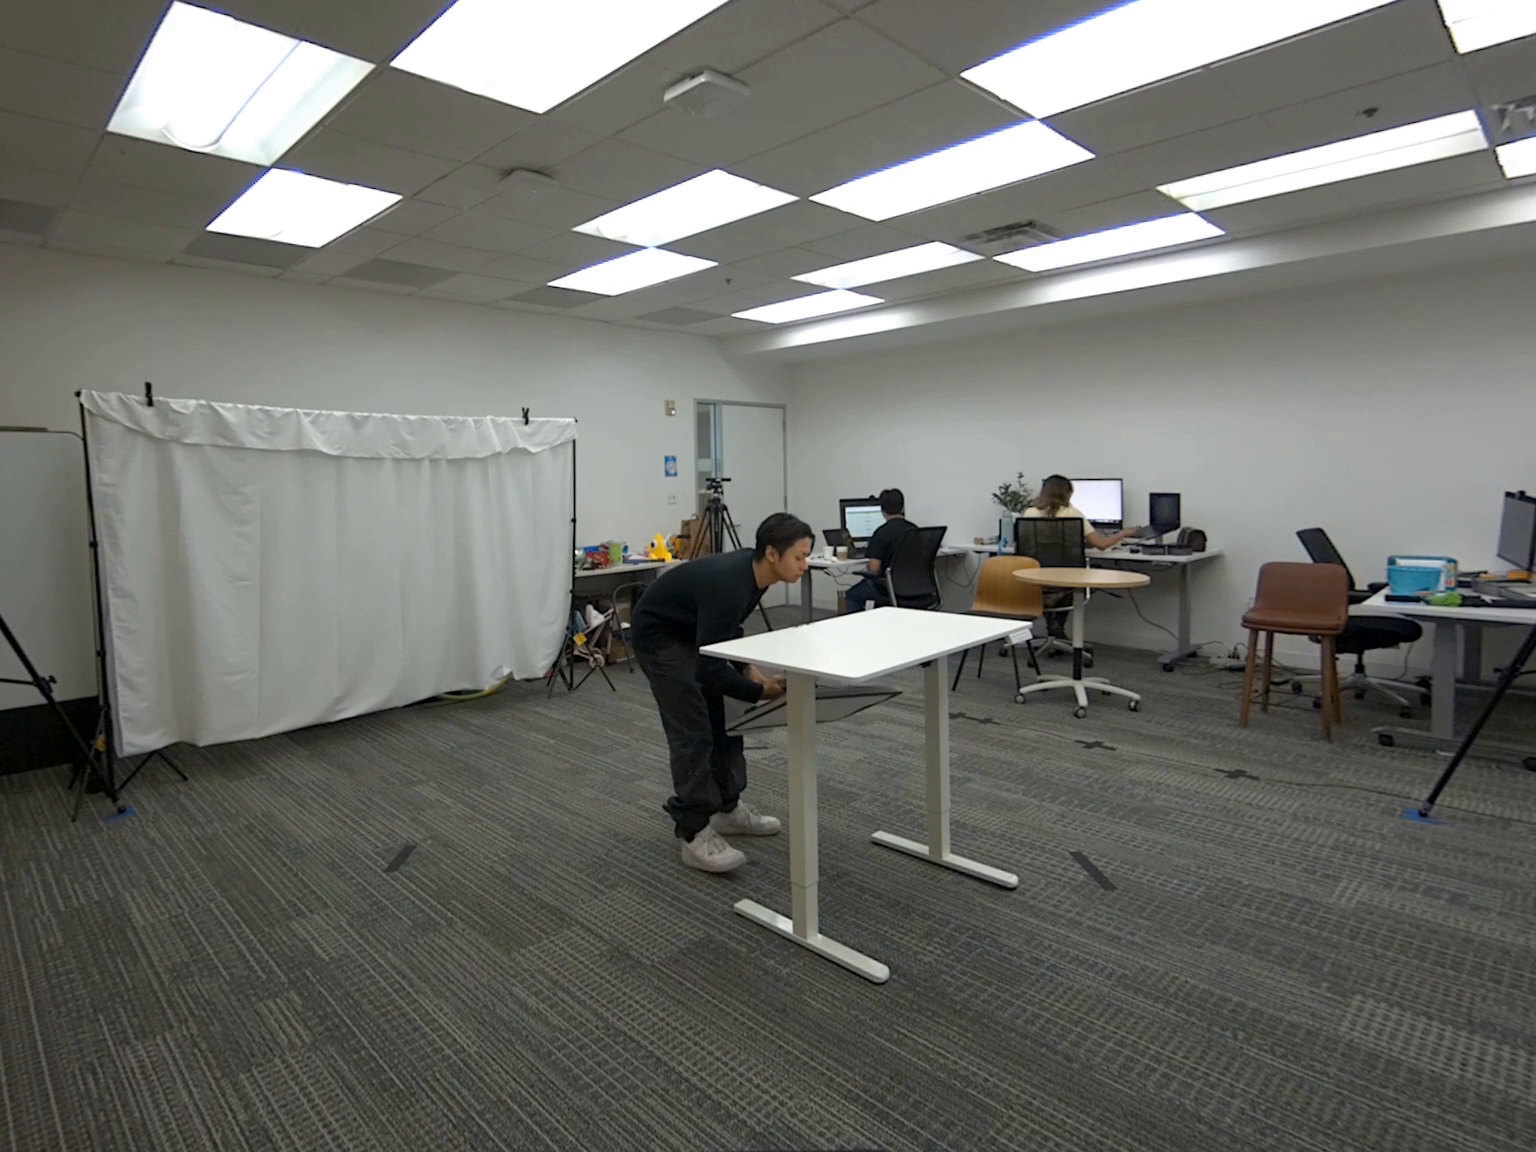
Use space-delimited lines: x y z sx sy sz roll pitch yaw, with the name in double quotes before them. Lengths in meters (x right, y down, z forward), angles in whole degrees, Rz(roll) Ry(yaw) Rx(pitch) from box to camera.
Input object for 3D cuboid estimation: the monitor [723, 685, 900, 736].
"monitor" 0.101 0.457 3.099 0.513 0.176 0.528 5 -10 -41
